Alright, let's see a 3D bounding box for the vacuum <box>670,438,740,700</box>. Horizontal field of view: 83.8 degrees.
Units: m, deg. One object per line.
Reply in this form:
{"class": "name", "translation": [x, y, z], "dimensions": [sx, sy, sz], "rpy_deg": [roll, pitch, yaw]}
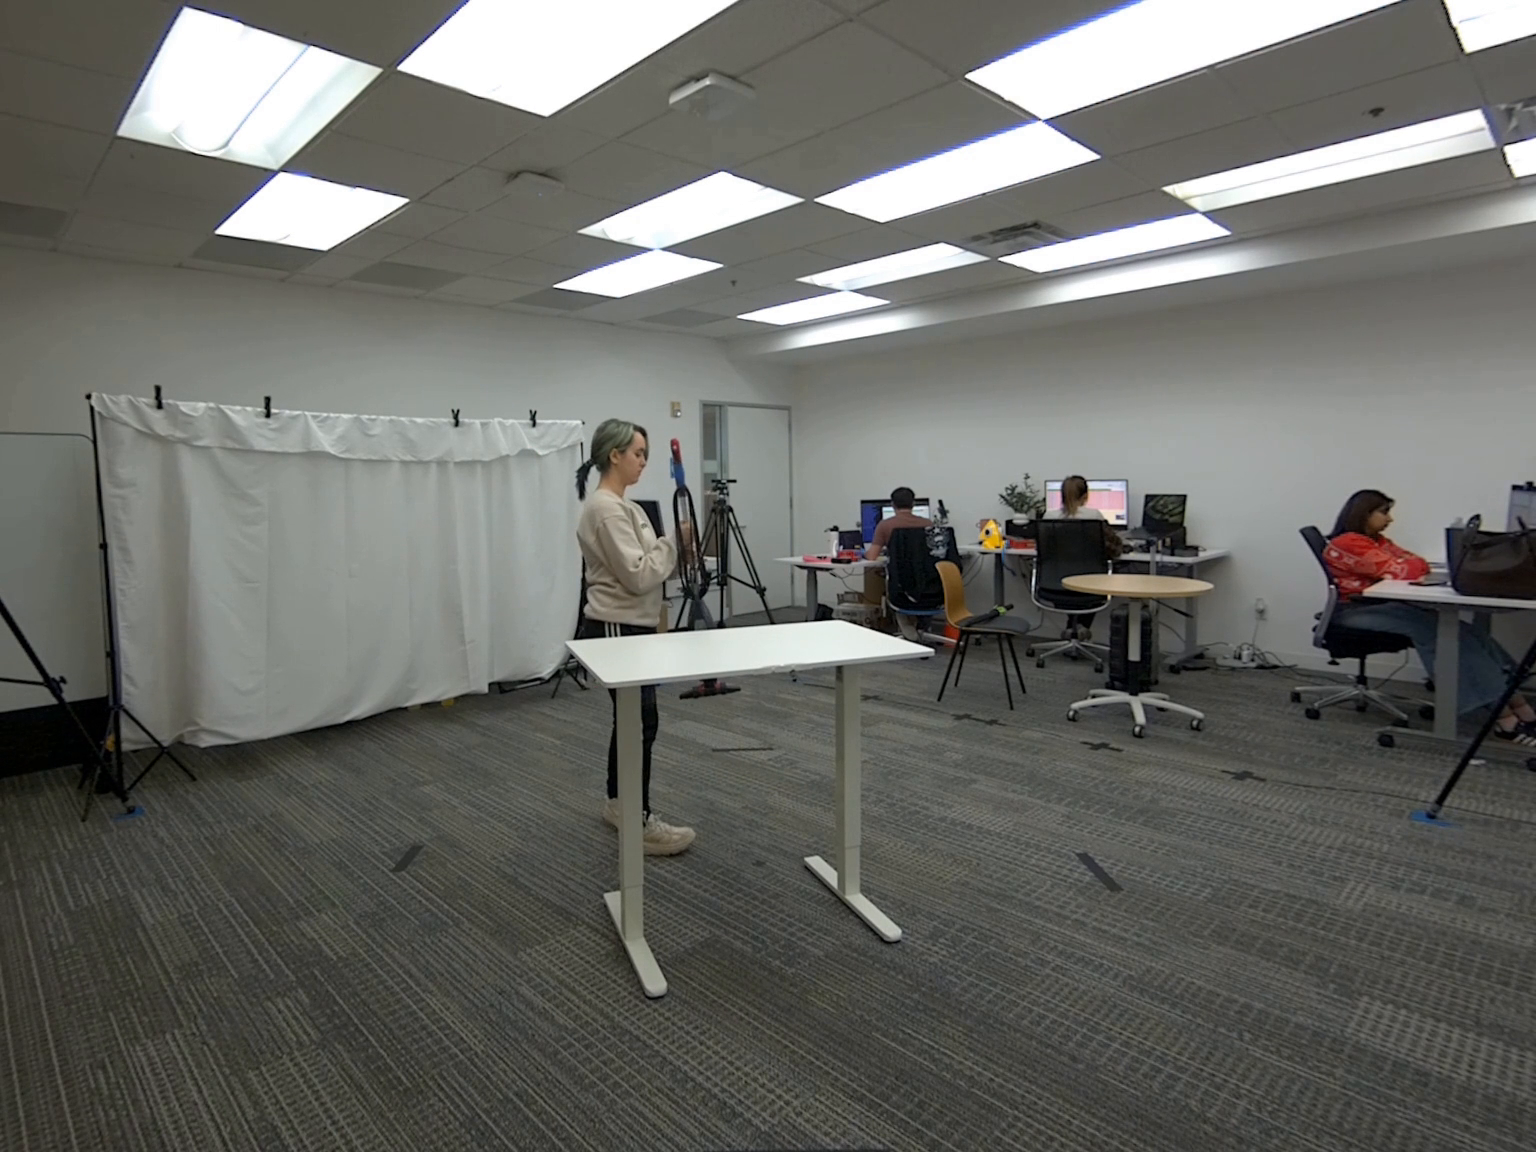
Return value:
{"class": "vacuum", "translation": [-0.292, -0.006, 3.253], "dimensions": [0.254, 1.028, 0.146], "rpy_deg": [-3, 22, 5]}
